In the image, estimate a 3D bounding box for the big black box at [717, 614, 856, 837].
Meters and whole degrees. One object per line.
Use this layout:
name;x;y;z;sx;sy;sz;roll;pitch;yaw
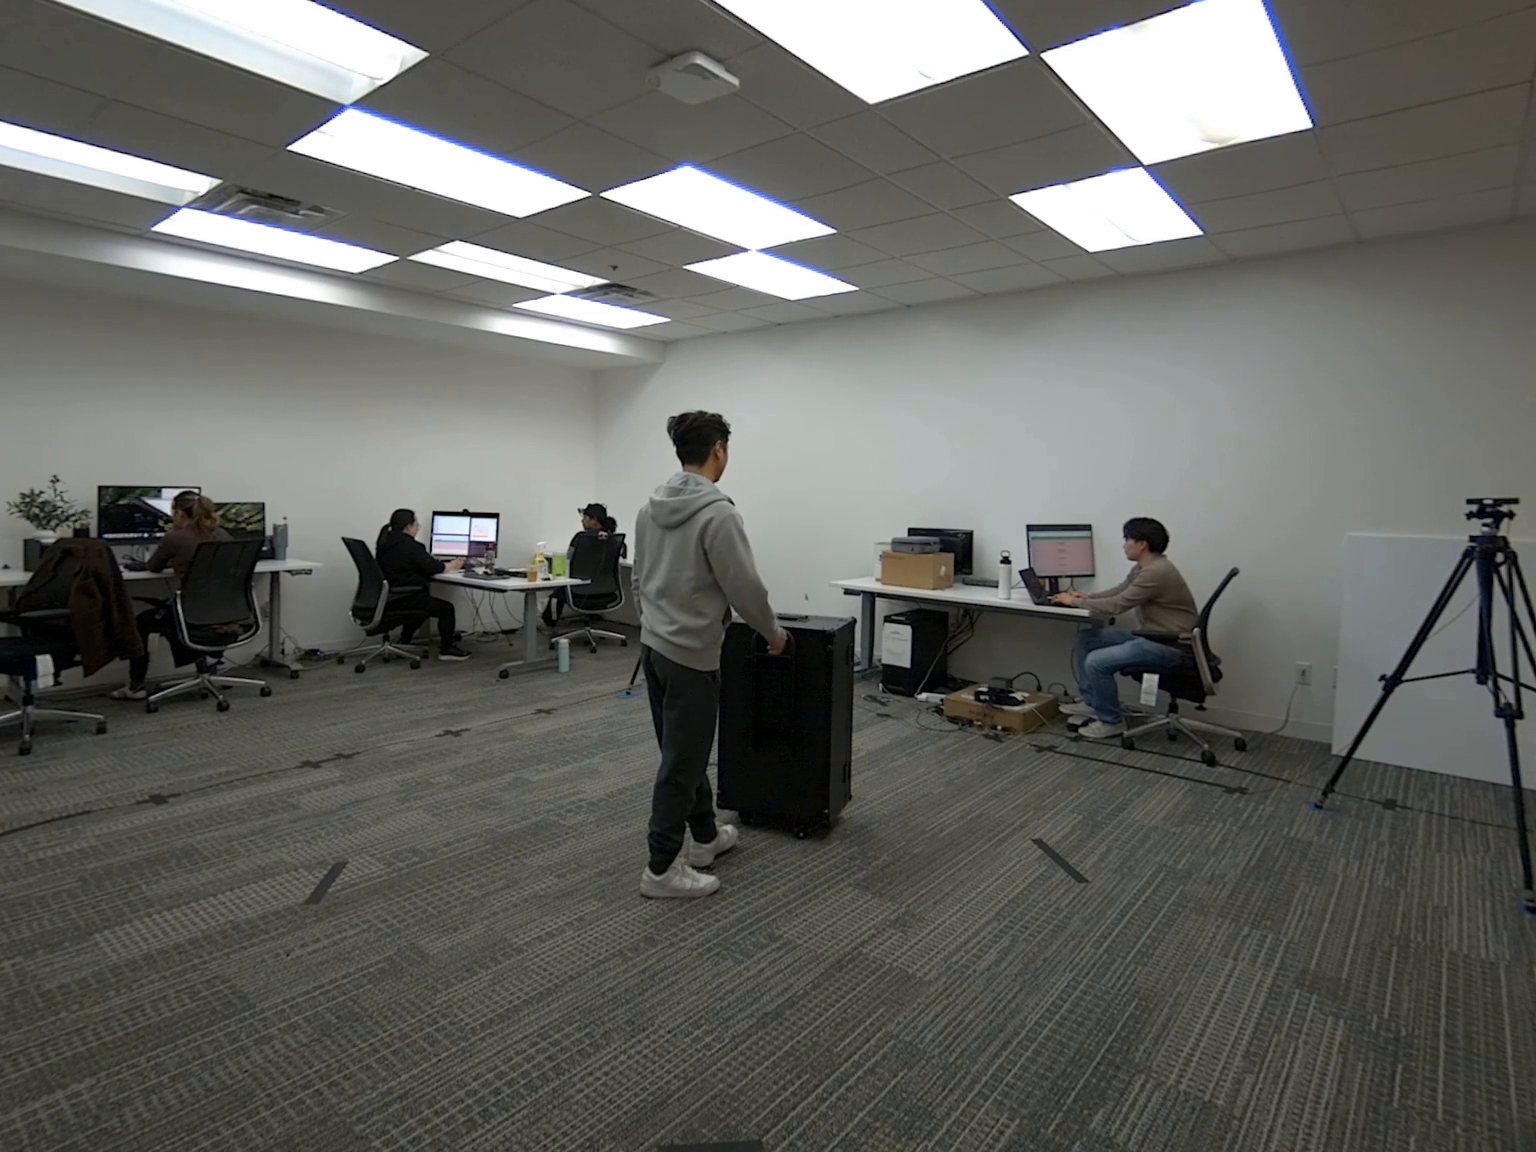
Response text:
big black box;0.075;0.604;3.556;0.533;0.858;0.389;2;5;22
